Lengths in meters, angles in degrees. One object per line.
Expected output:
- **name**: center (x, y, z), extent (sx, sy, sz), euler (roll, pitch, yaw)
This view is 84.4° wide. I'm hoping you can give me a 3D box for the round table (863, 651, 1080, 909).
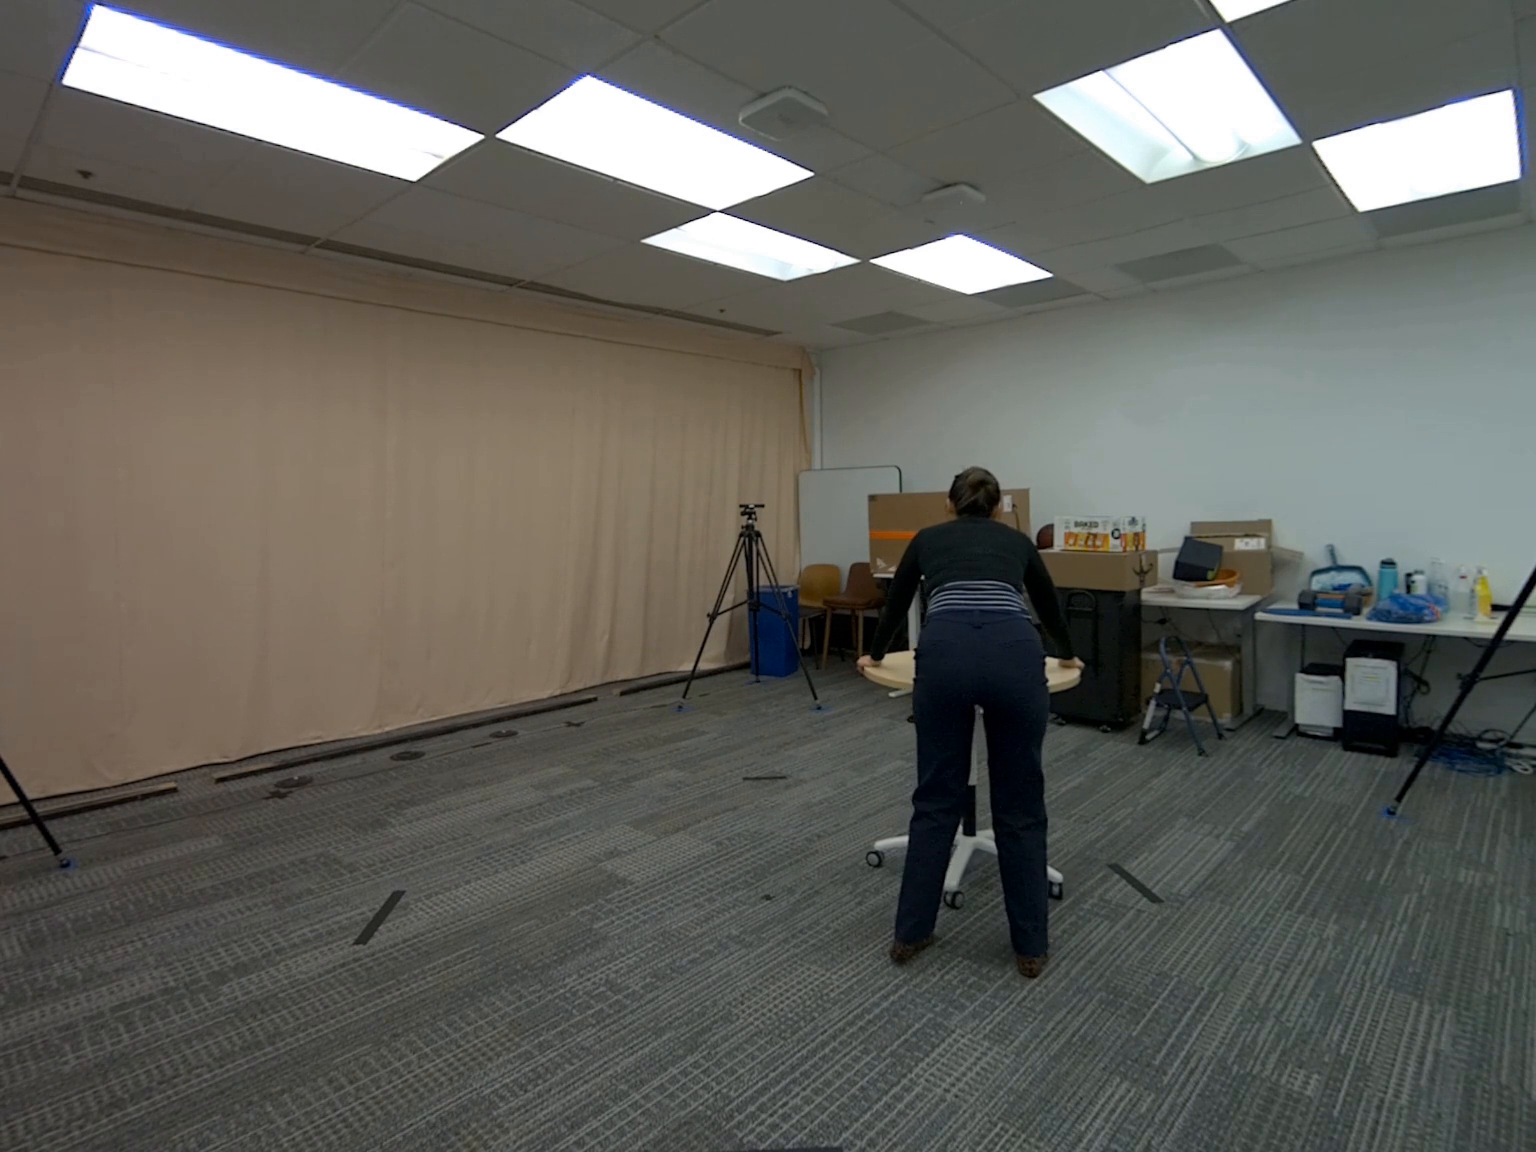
- **round table**: center (0.747, 0.725, 3.153), extent (0.763, 0.792, 0.766), euler (-1, 4, -2)
